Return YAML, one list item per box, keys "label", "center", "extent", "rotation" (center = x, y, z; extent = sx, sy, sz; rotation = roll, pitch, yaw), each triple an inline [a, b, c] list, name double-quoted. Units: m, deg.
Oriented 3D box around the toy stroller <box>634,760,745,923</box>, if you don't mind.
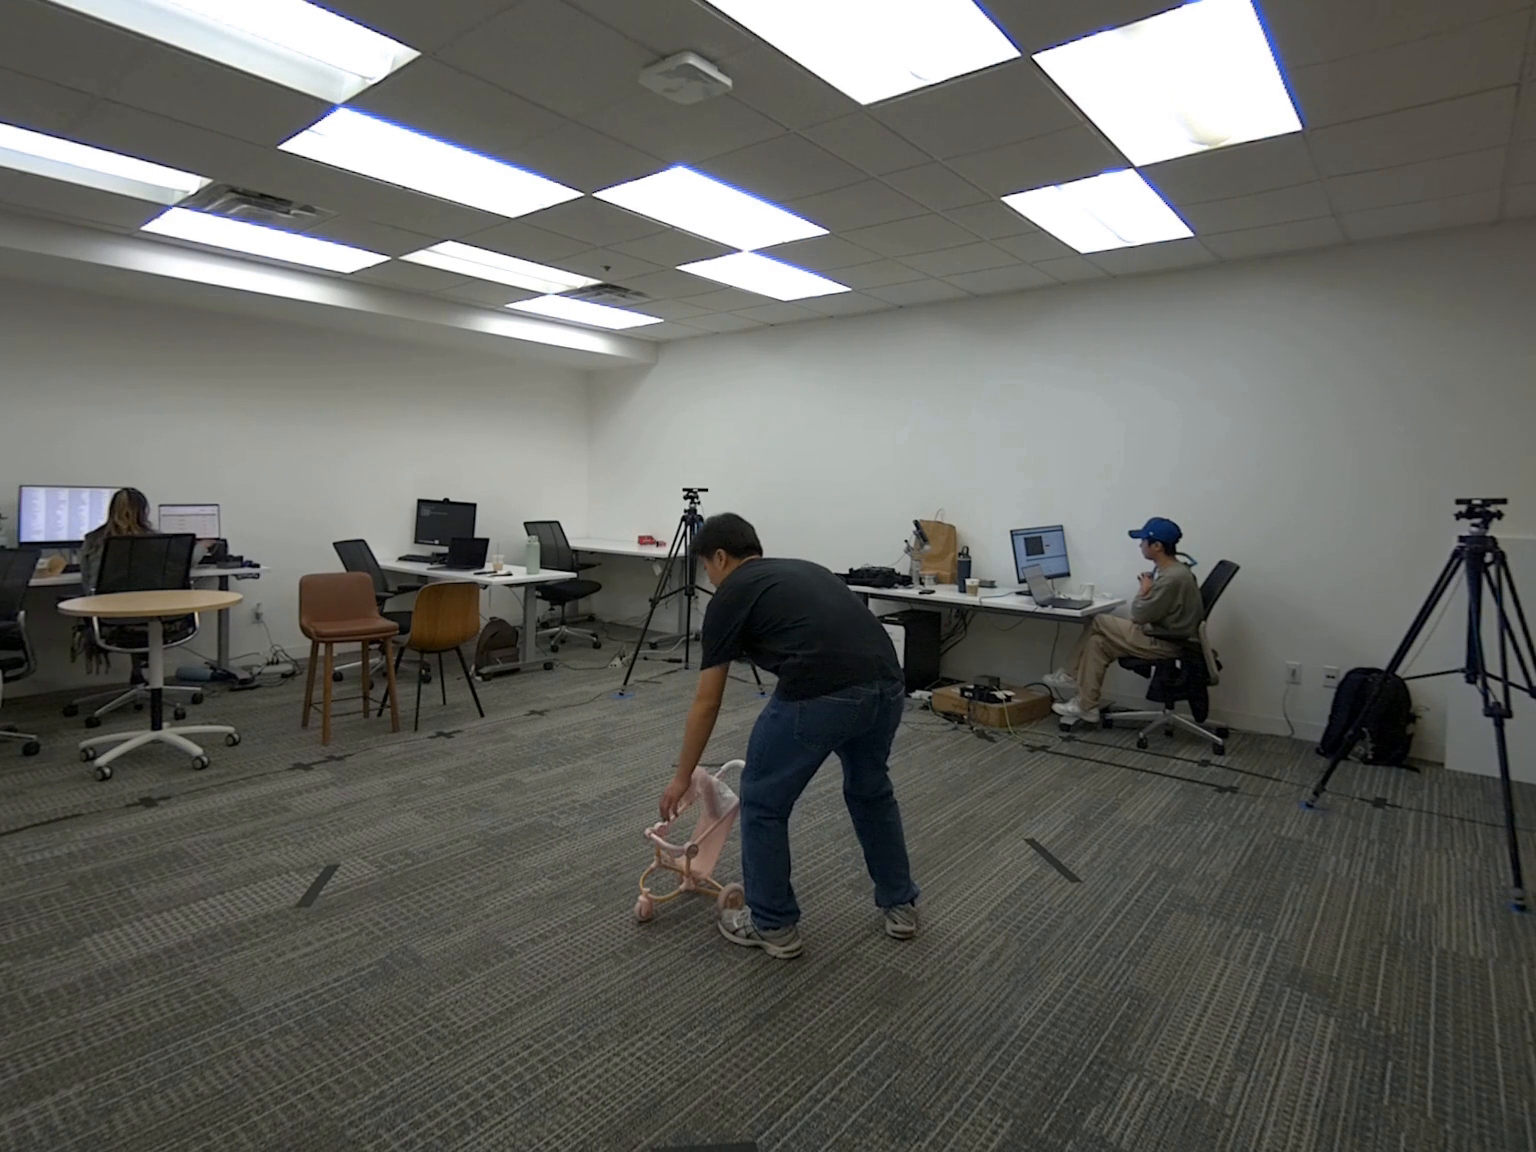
- label: "toy stroller"
  center: [-0.257, 0.869, 2.821]
  extent: [0.330, 0.536, 0.290]
  rotation: [16, -4, -31]
